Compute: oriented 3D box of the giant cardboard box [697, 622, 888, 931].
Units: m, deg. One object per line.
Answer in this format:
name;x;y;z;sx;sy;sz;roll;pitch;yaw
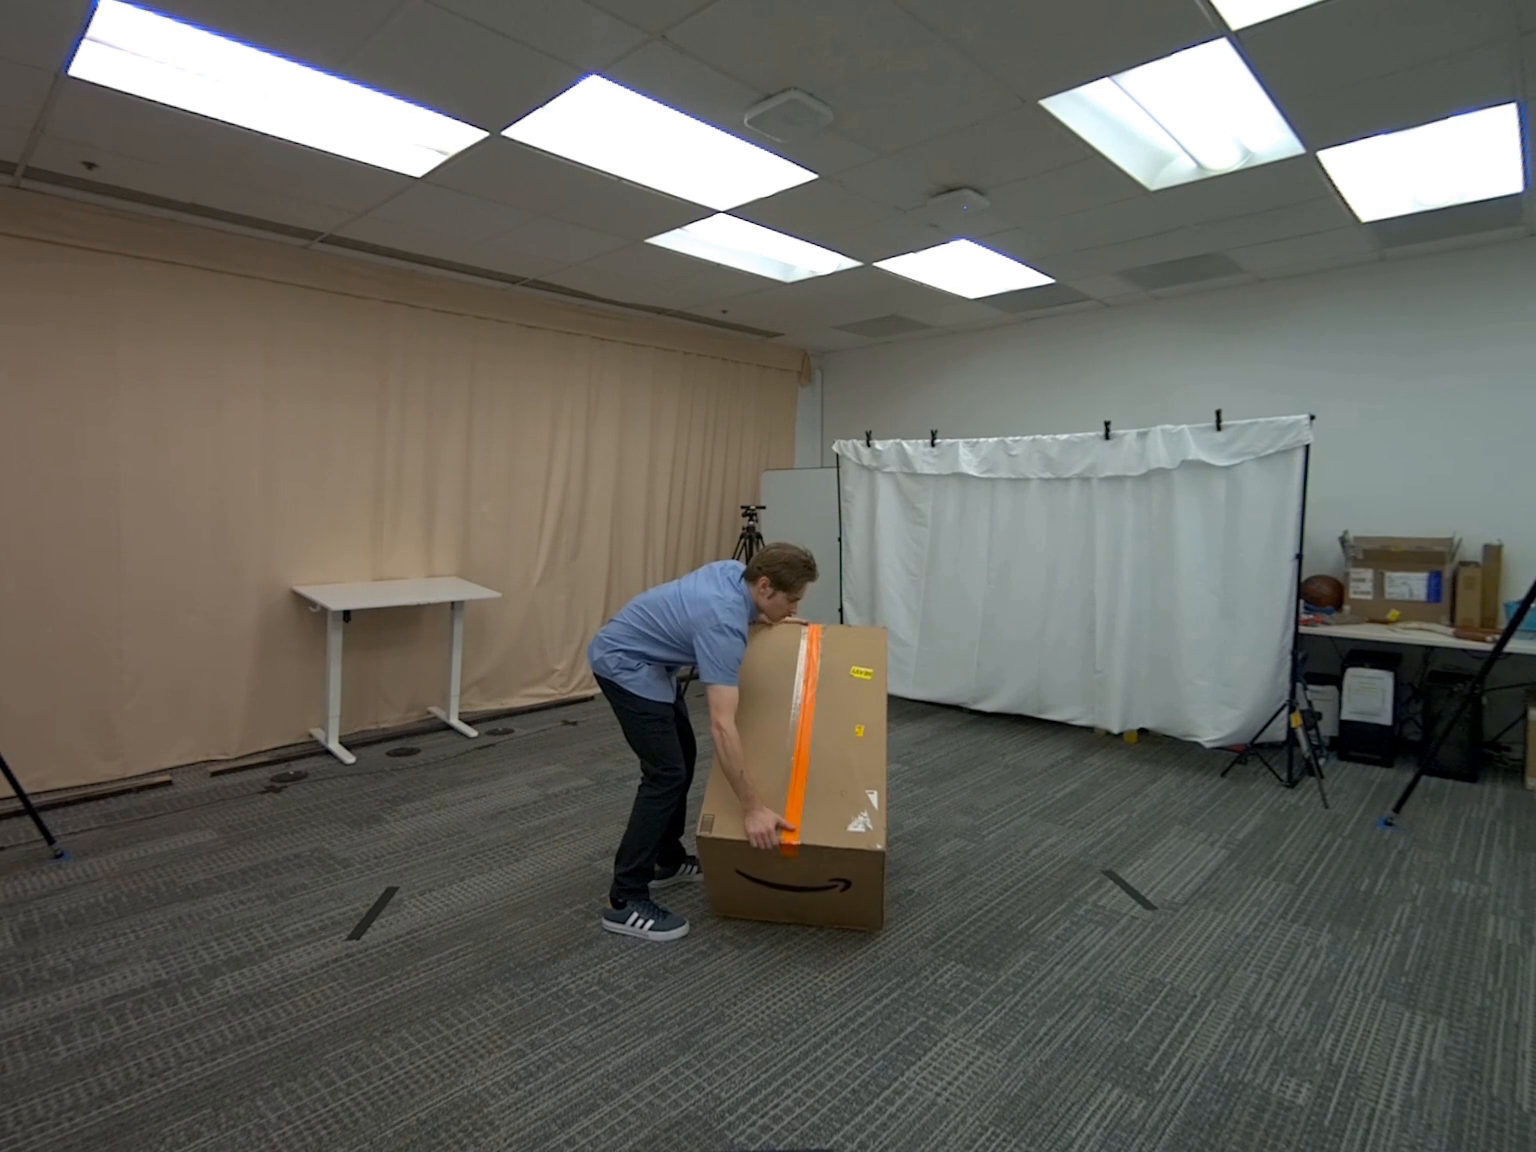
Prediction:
giant cardboard box;0.143;0.669;3.054;0.591;0.437;1.037;-1;36;10
